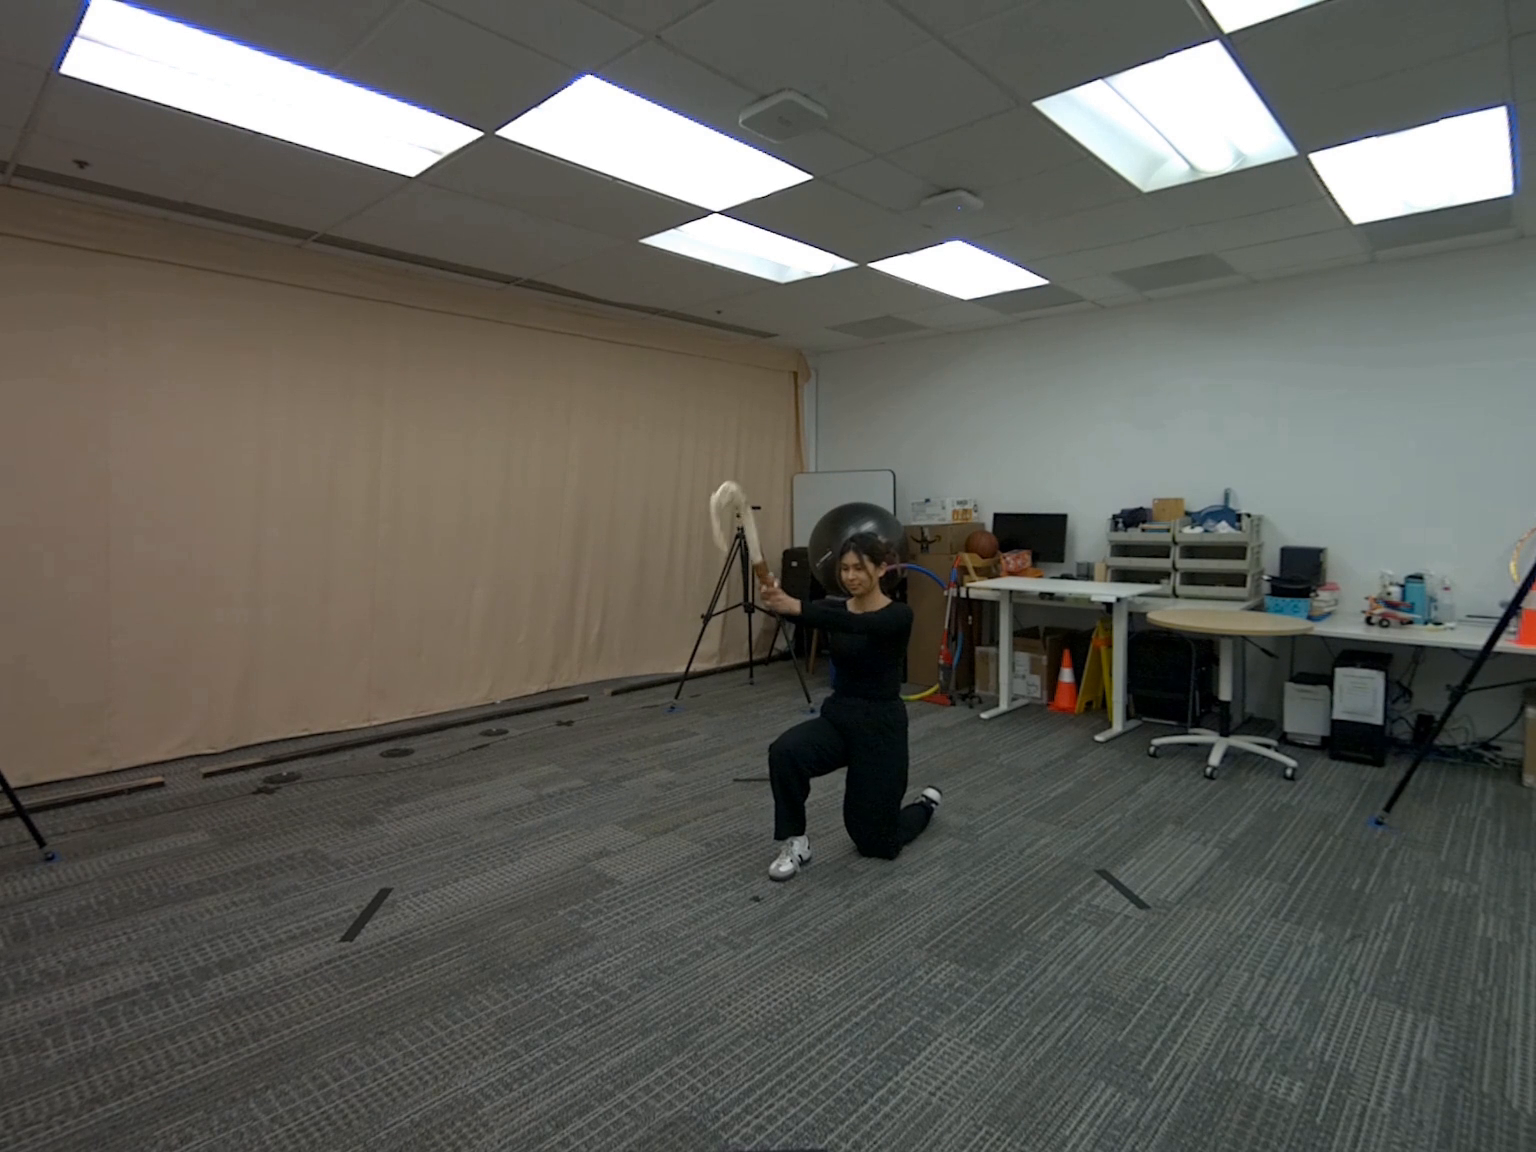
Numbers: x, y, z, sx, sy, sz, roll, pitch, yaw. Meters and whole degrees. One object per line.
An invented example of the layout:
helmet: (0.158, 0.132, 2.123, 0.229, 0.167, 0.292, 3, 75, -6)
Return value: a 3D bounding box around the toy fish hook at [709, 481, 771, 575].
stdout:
toy fish hook: (-0.055, -0.054, 2.839, 0.050, 0.495, 0.223, -2, 33, 38)
